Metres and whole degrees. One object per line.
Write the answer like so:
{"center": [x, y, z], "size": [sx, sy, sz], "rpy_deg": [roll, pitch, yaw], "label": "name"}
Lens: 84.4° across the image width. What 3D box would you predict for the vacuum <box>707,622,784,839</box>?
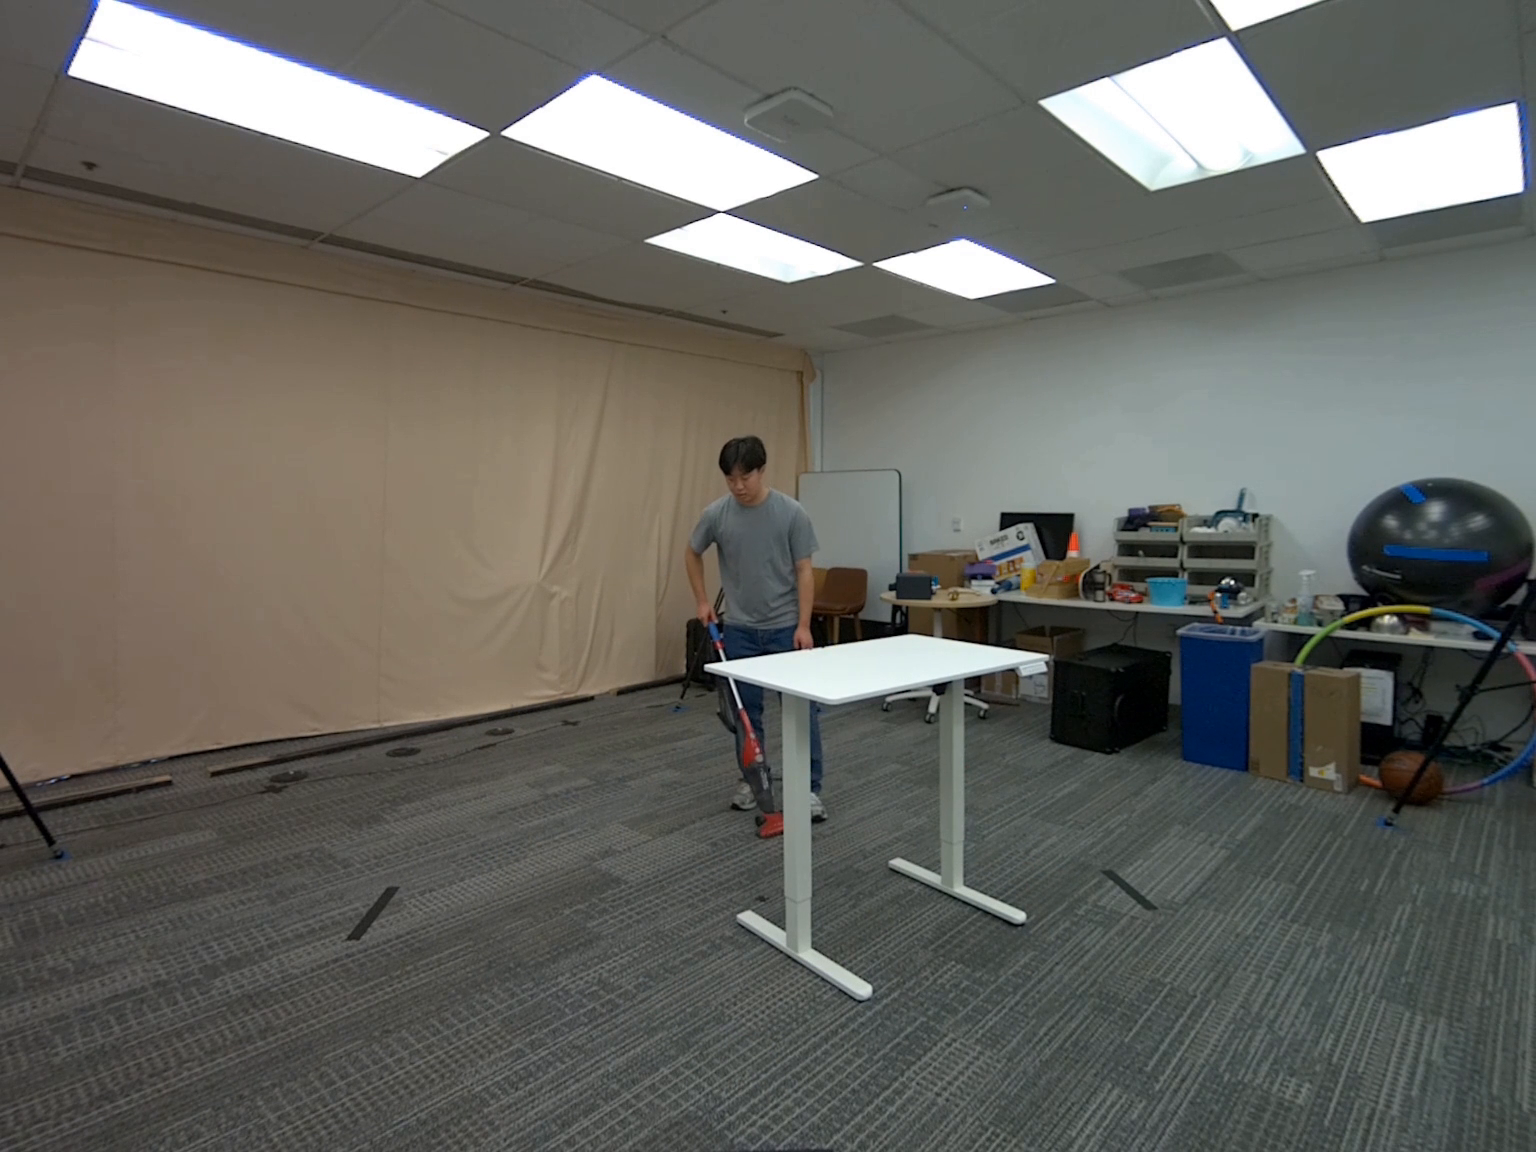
{"center": [-0.130, 0.631, 3.831], "size": [0.245, 1.073, 0.145], "rpy_deg": [-3, -31, -38], "label": "vacuum"}
